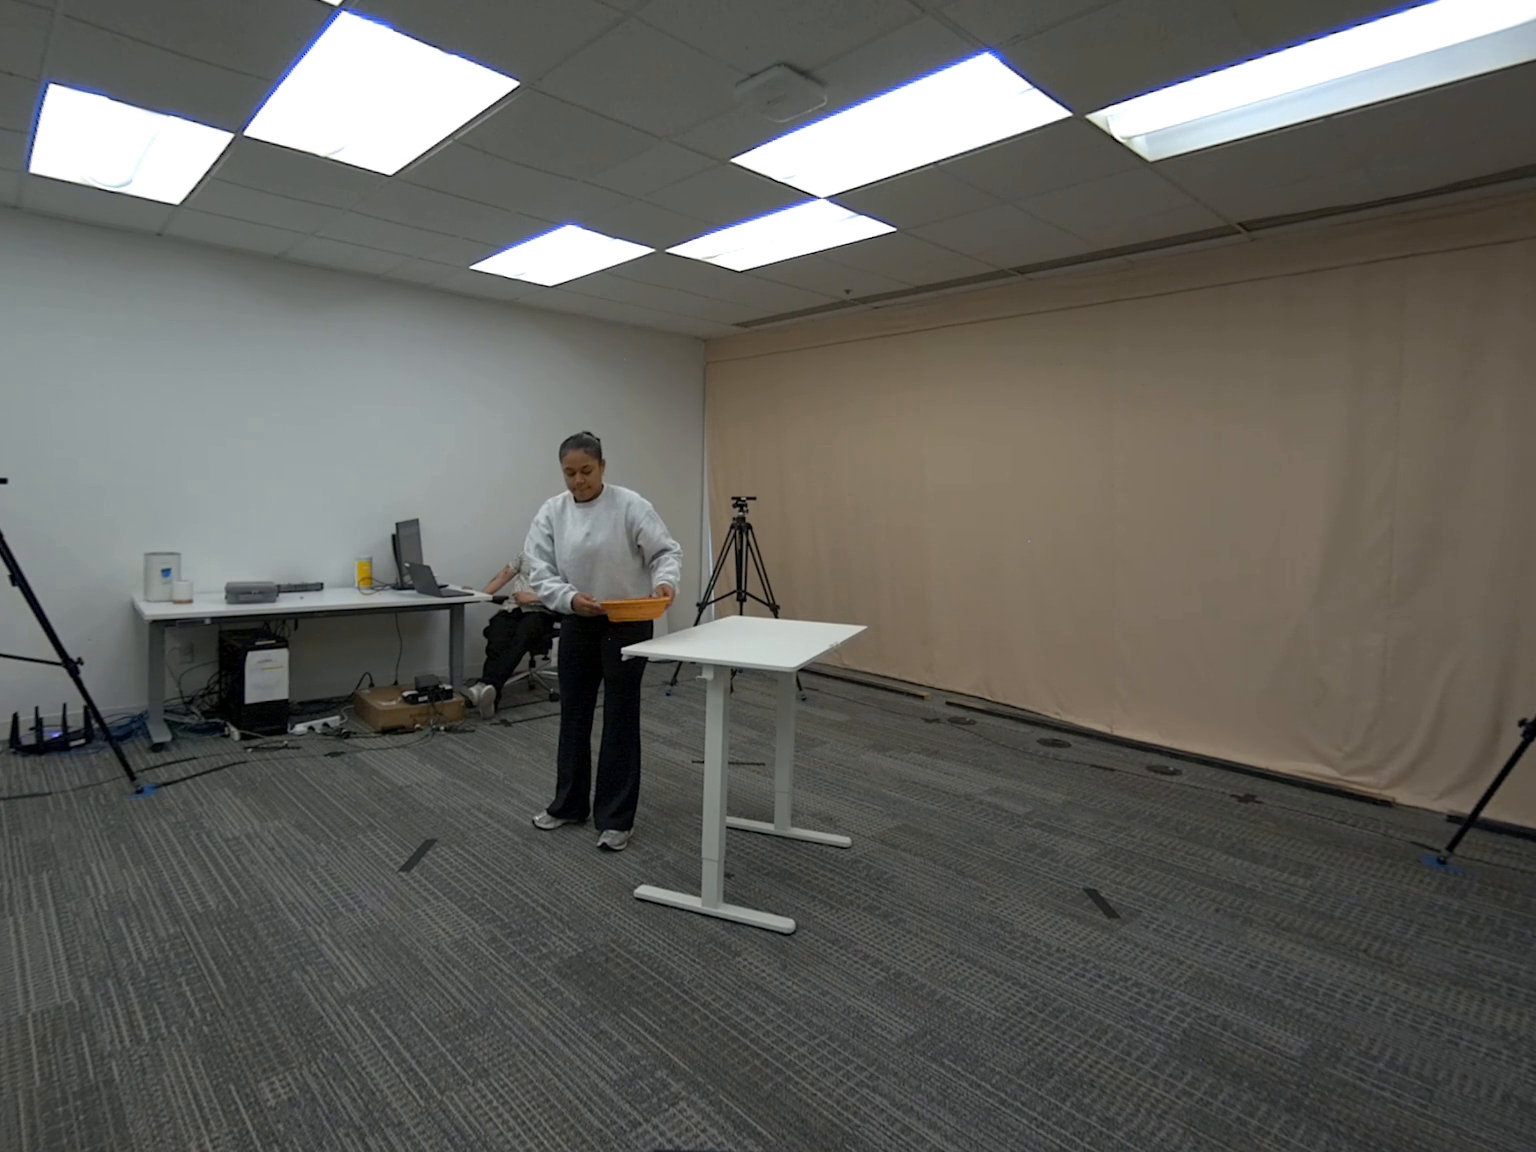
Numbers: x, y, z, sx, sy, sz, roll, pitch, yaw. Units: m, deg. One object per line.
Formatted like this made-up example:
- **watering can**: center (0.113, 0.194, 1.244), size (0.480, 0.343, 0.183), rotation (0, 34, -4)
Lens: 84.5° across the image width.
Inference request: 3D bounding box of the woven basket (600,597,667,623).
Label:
- **woven basket**: center (-0.521, 0.146, 3.066), size (0.250, 0.073, 0.354), rotation (-3, 3, -14)
